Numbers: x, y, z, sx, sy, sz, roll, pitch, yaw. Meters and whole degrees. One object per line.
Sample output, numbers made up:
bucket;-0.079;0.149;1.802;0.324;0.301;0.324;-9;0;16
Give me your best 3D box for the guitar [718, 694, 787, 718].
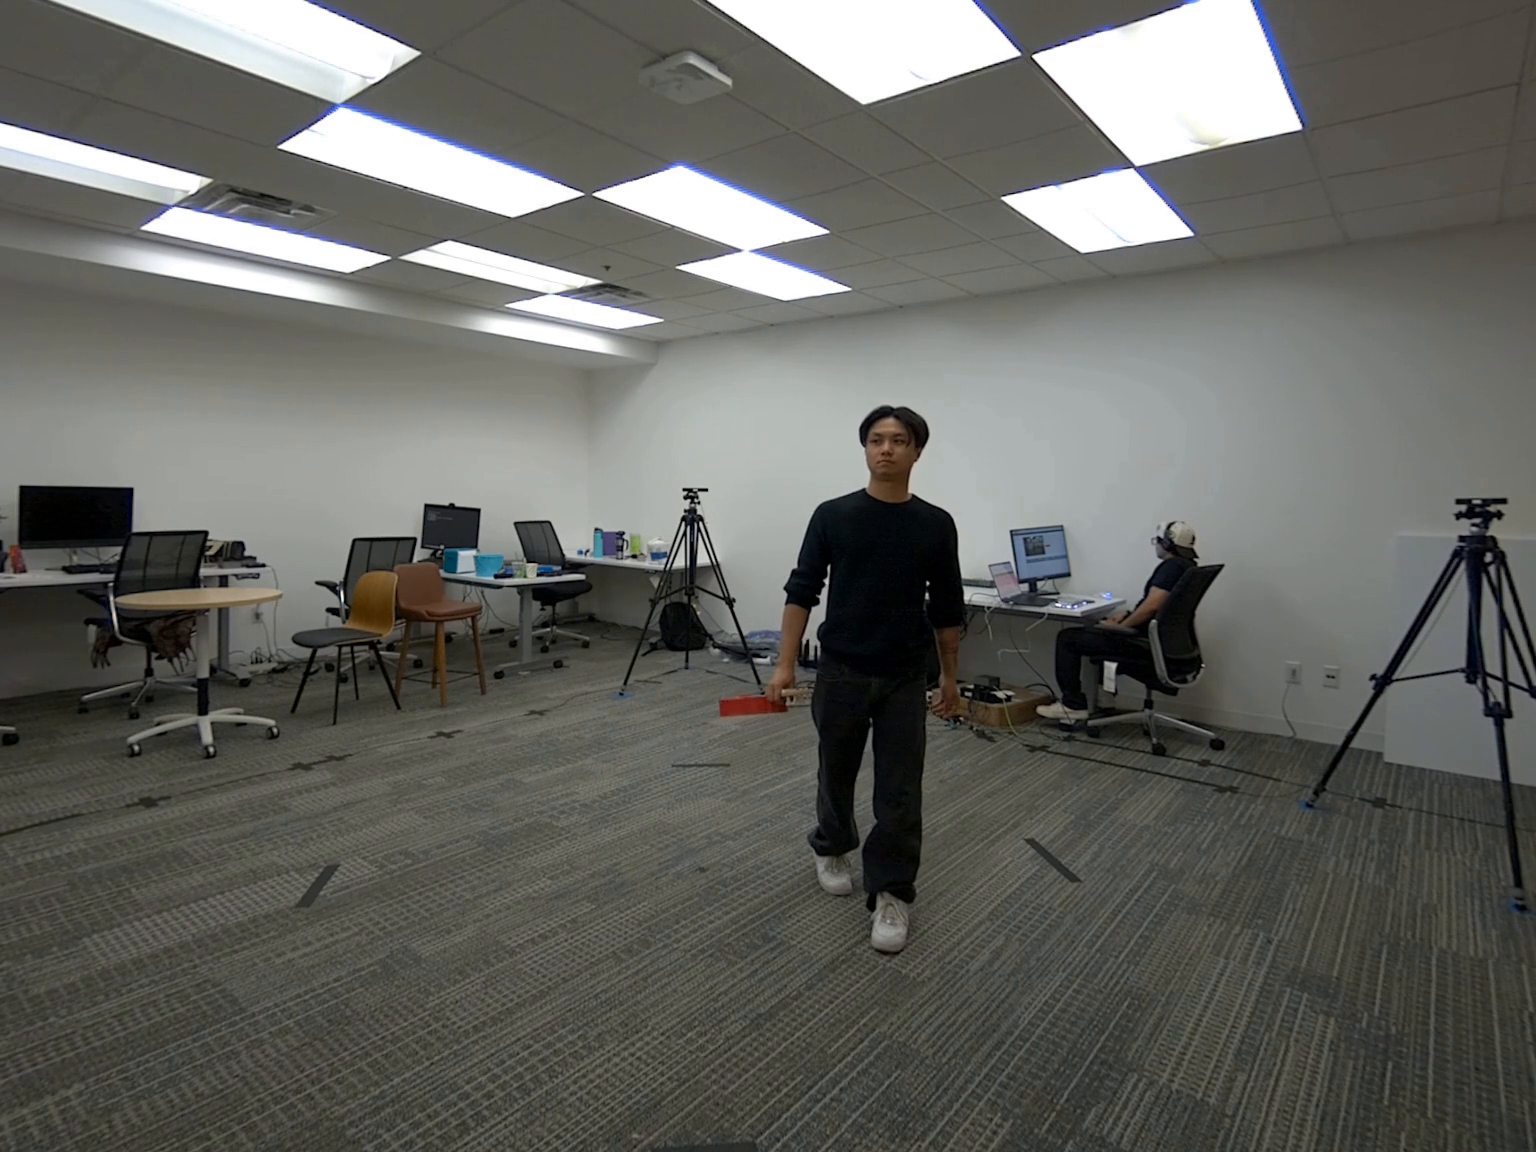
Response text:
guitar;-0.030;0.419;2.798;0.189;0.071;0.501;-1;-9;-19
